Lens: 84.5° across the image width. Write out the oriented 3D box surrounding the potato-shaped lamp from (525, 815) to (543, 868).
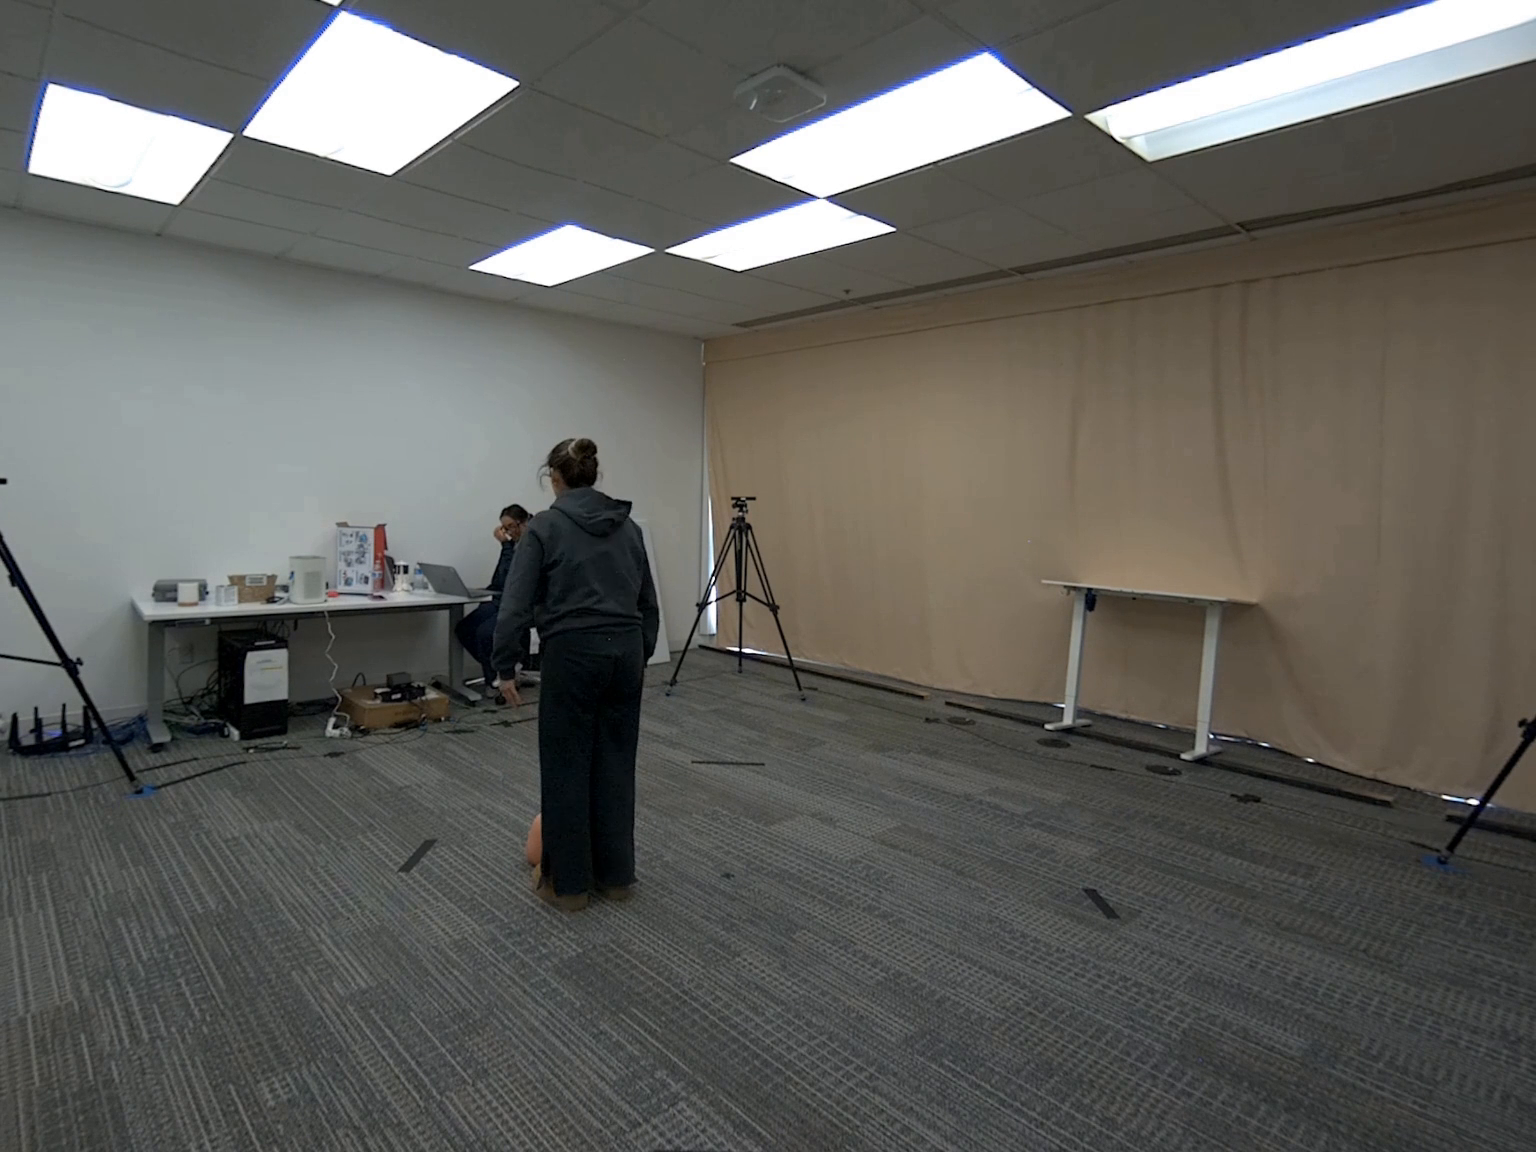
[{"bbox_3d":[-0.834,1.001,3.189,0.170,0.197,0.166,34,10,36],"label":"potato-shaped lamp"}]
